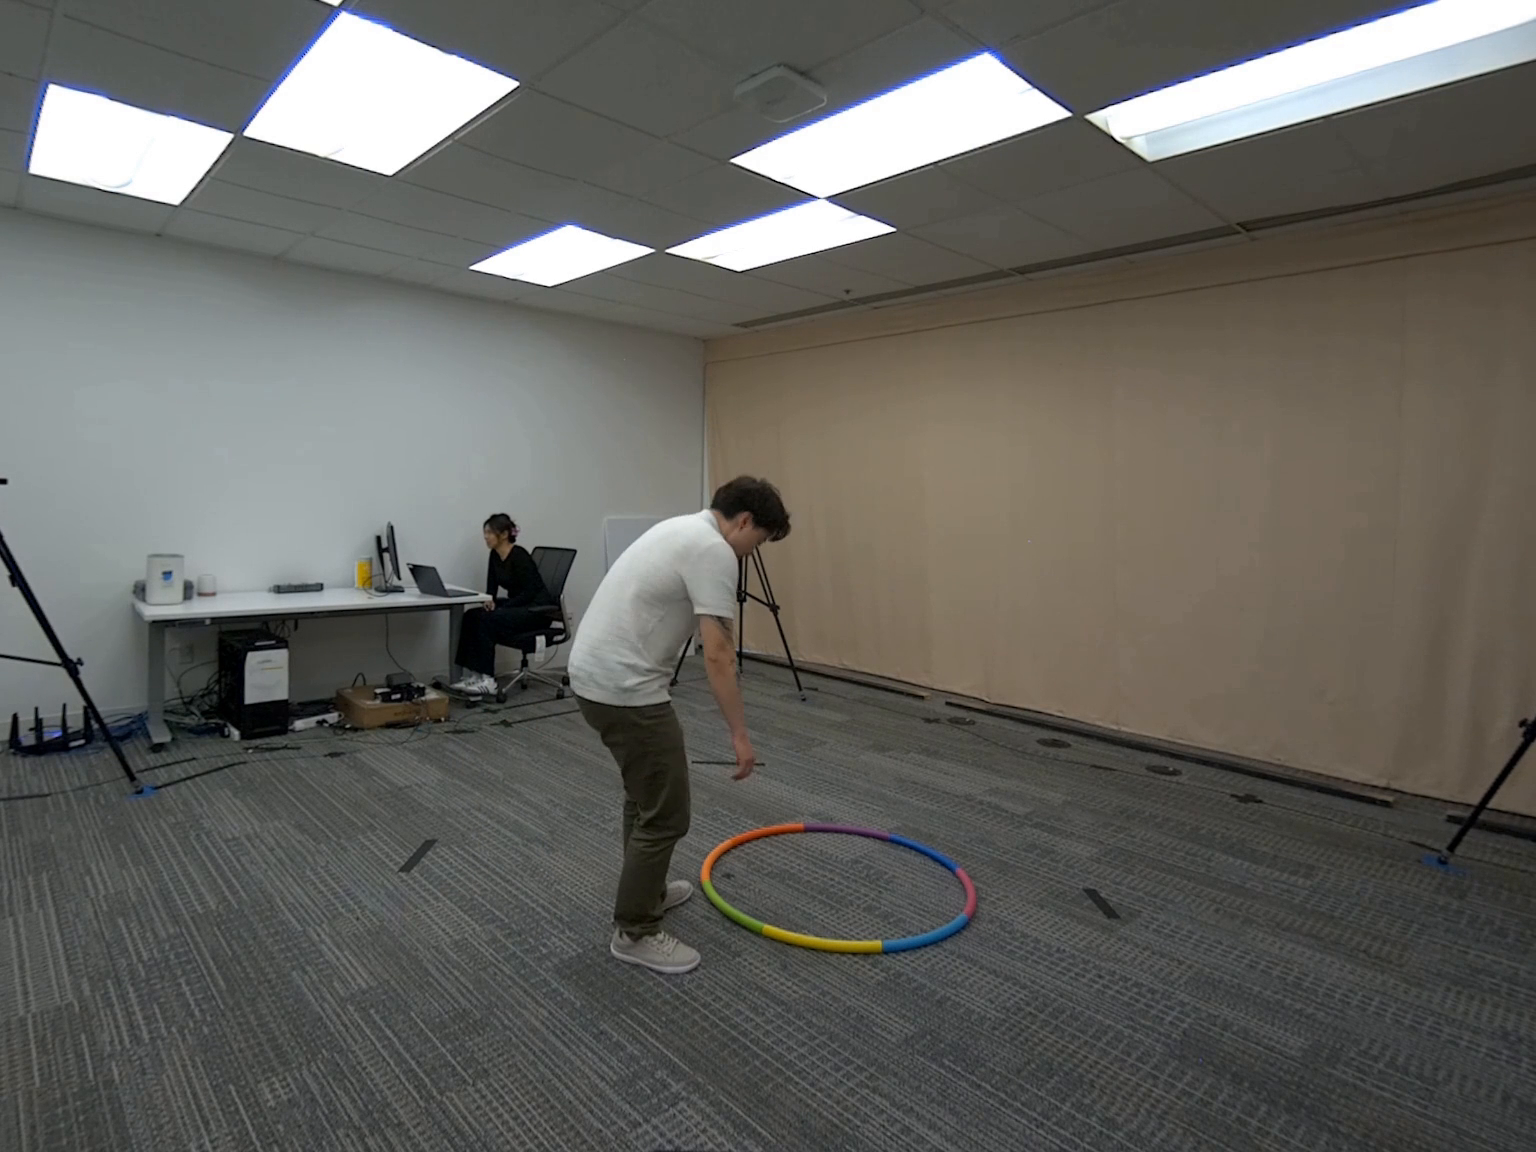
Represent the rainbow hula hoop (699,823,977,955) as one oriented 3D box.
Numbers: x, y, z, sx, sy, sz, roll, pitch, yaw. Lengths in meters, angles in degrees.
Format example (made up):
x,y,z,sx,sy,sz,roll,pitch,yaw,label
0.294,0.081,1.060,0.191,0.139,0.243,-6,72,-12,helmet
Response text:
x,y,z,sx,sy,sz,roll,pitch,yaw,label
0.239,1.090,3.069,0.978,0.035,0.982,1,5,-1,rainbow hula hoop
